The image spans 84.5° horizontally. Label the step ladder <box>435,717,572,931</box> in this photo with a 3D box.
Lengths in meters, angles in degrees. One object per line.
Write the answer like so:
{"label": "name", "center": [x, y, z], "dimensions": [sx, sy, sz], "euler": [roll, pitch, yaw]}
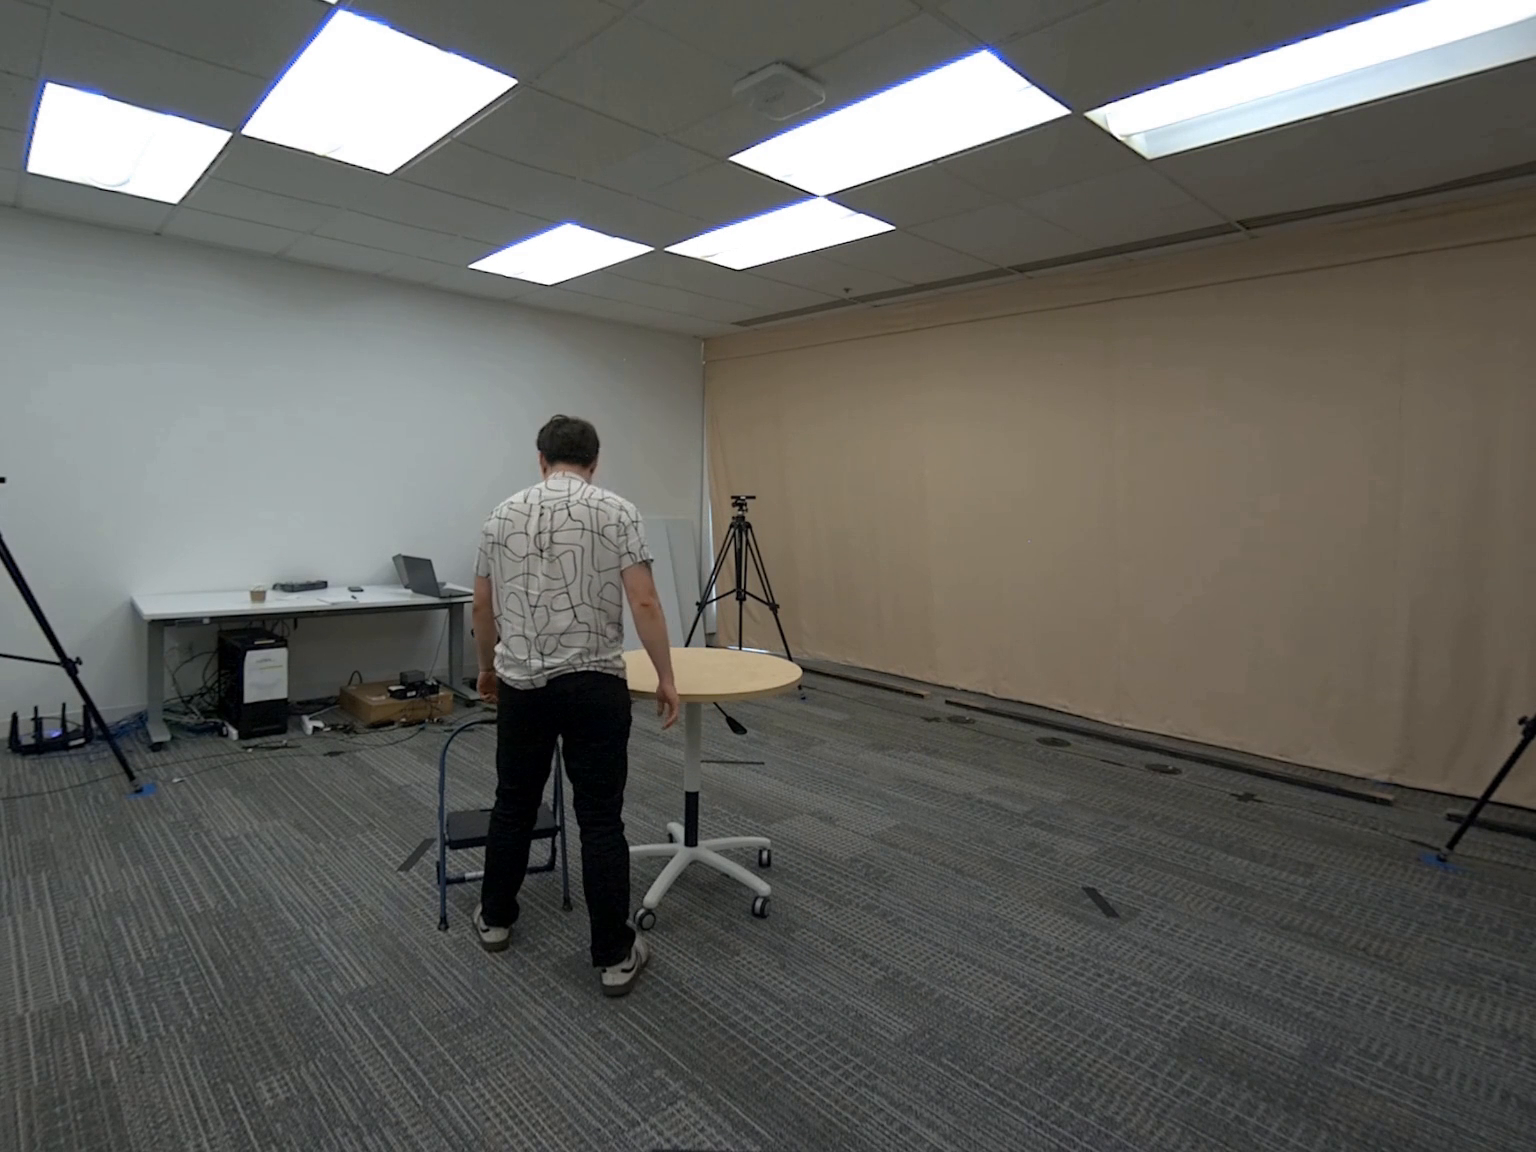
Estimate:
{"label": "step ladder", "center": [-0.915, 0.805, 2.877], "dimensions": [0.423, 0.604, 0.356], "euler": [-1, 4, -23]}
